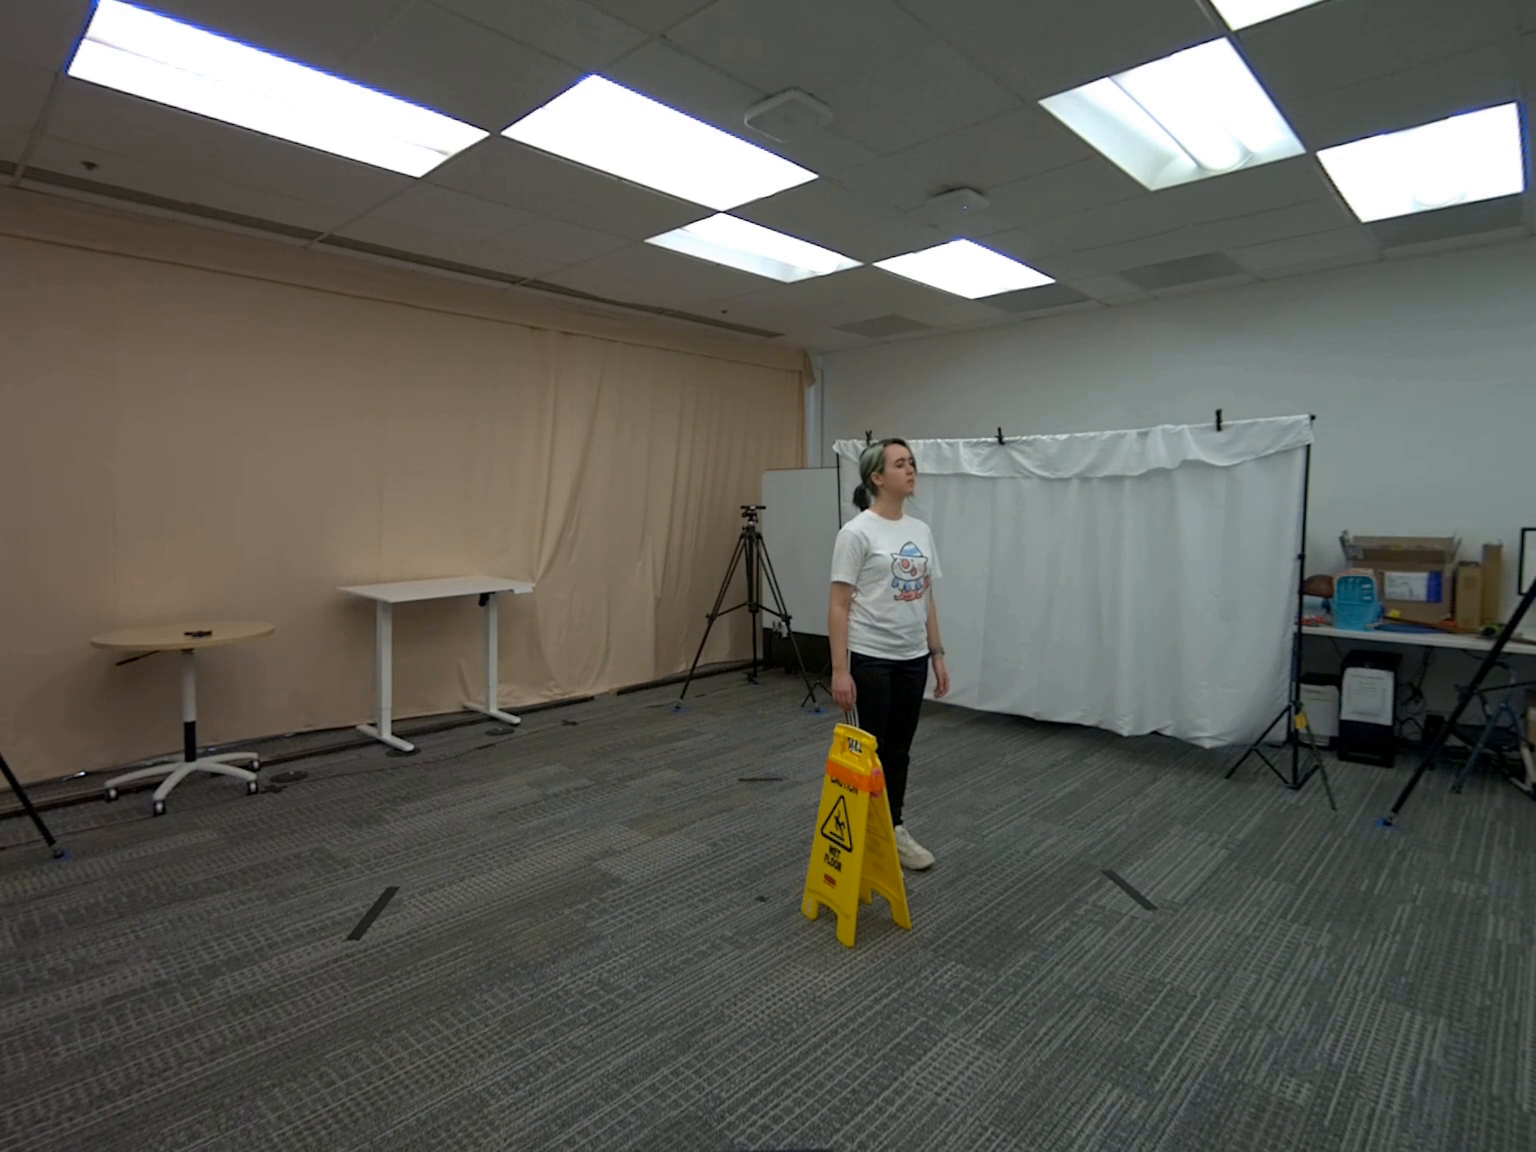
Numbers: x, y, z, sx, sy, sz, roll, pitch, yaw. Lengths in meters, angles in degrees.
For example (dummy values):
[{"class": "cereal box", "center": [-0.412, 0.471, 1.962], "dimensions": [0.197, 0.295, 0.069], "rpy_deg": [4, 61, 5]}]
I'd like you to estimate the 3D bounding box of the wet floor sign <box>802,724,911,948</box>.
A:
[{"class": "wet floor sign", "center": [0.297, 0.829, 2.806], "dimensions": [0.282, 0.644, 0.290], "rpy_deg": [-2, 5, -30]}]
